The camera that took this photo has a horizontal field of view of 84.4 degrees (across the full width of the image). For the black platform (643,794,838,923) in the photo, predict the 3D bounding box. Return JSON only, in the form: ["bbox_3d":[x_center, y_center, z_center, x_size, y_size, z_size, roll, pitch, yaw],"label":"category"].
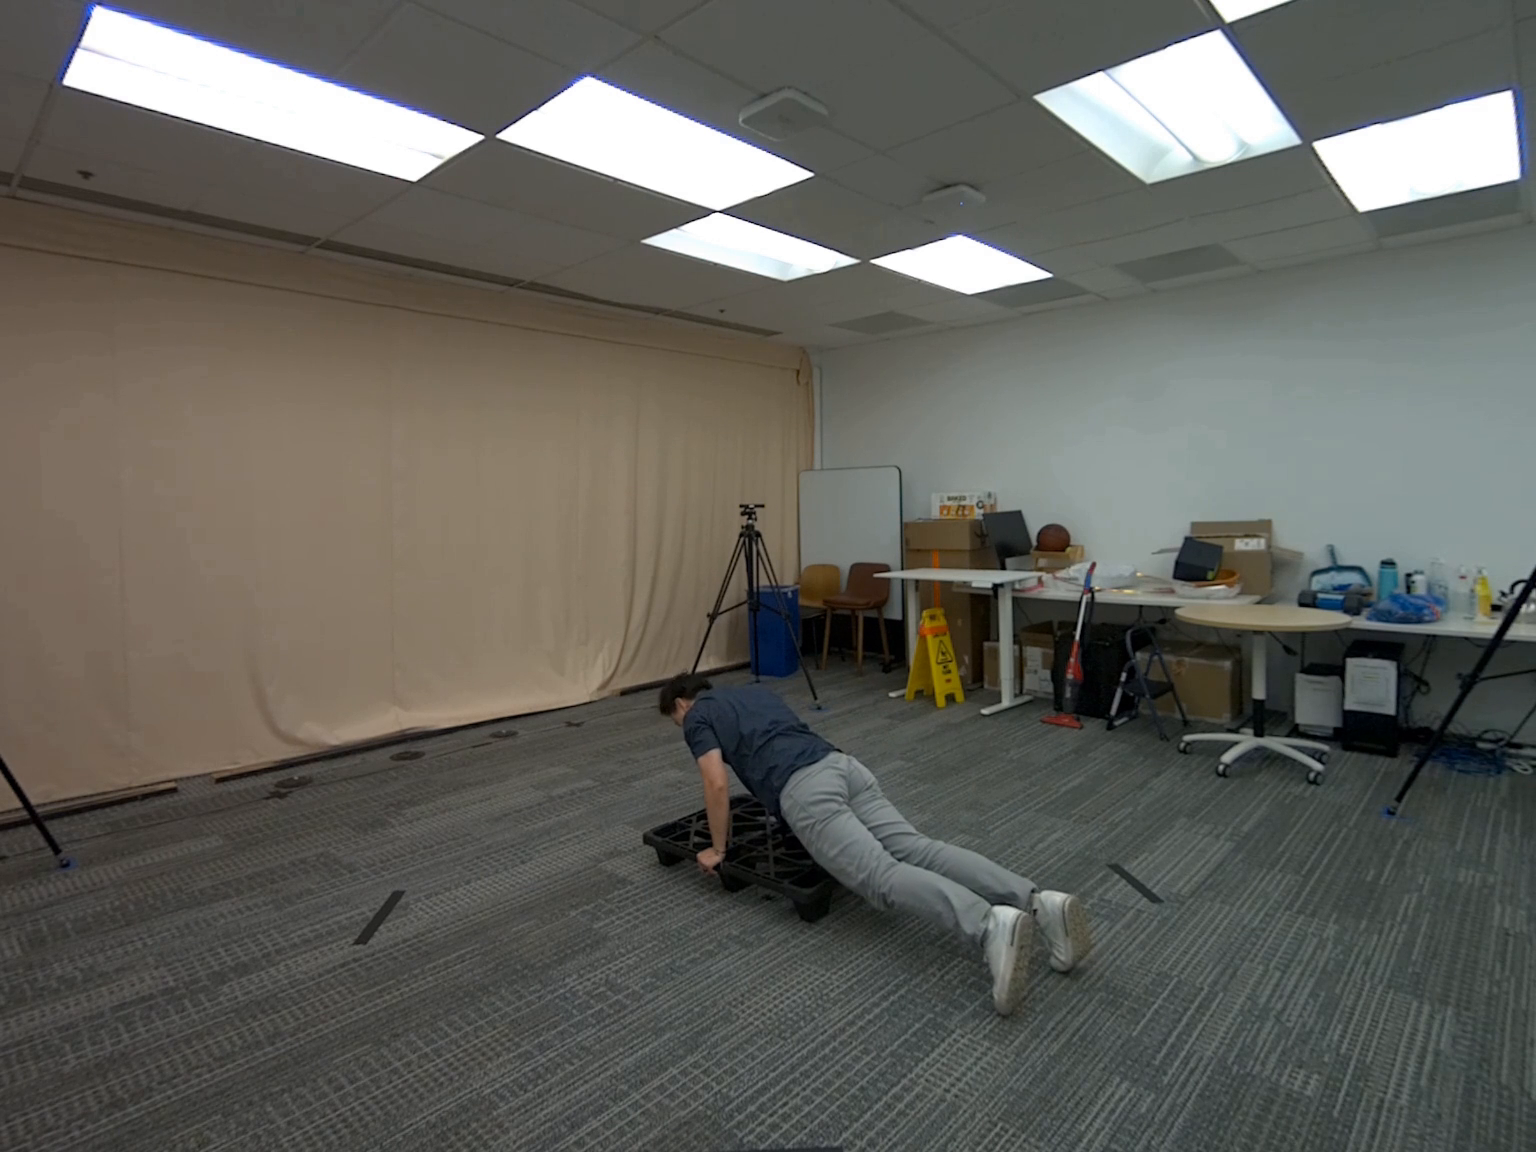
[{"bbox_3d":[0.007,1.053,3.209,0.832,0.143,0.587,3,7,41],"label":"black platform"}]
